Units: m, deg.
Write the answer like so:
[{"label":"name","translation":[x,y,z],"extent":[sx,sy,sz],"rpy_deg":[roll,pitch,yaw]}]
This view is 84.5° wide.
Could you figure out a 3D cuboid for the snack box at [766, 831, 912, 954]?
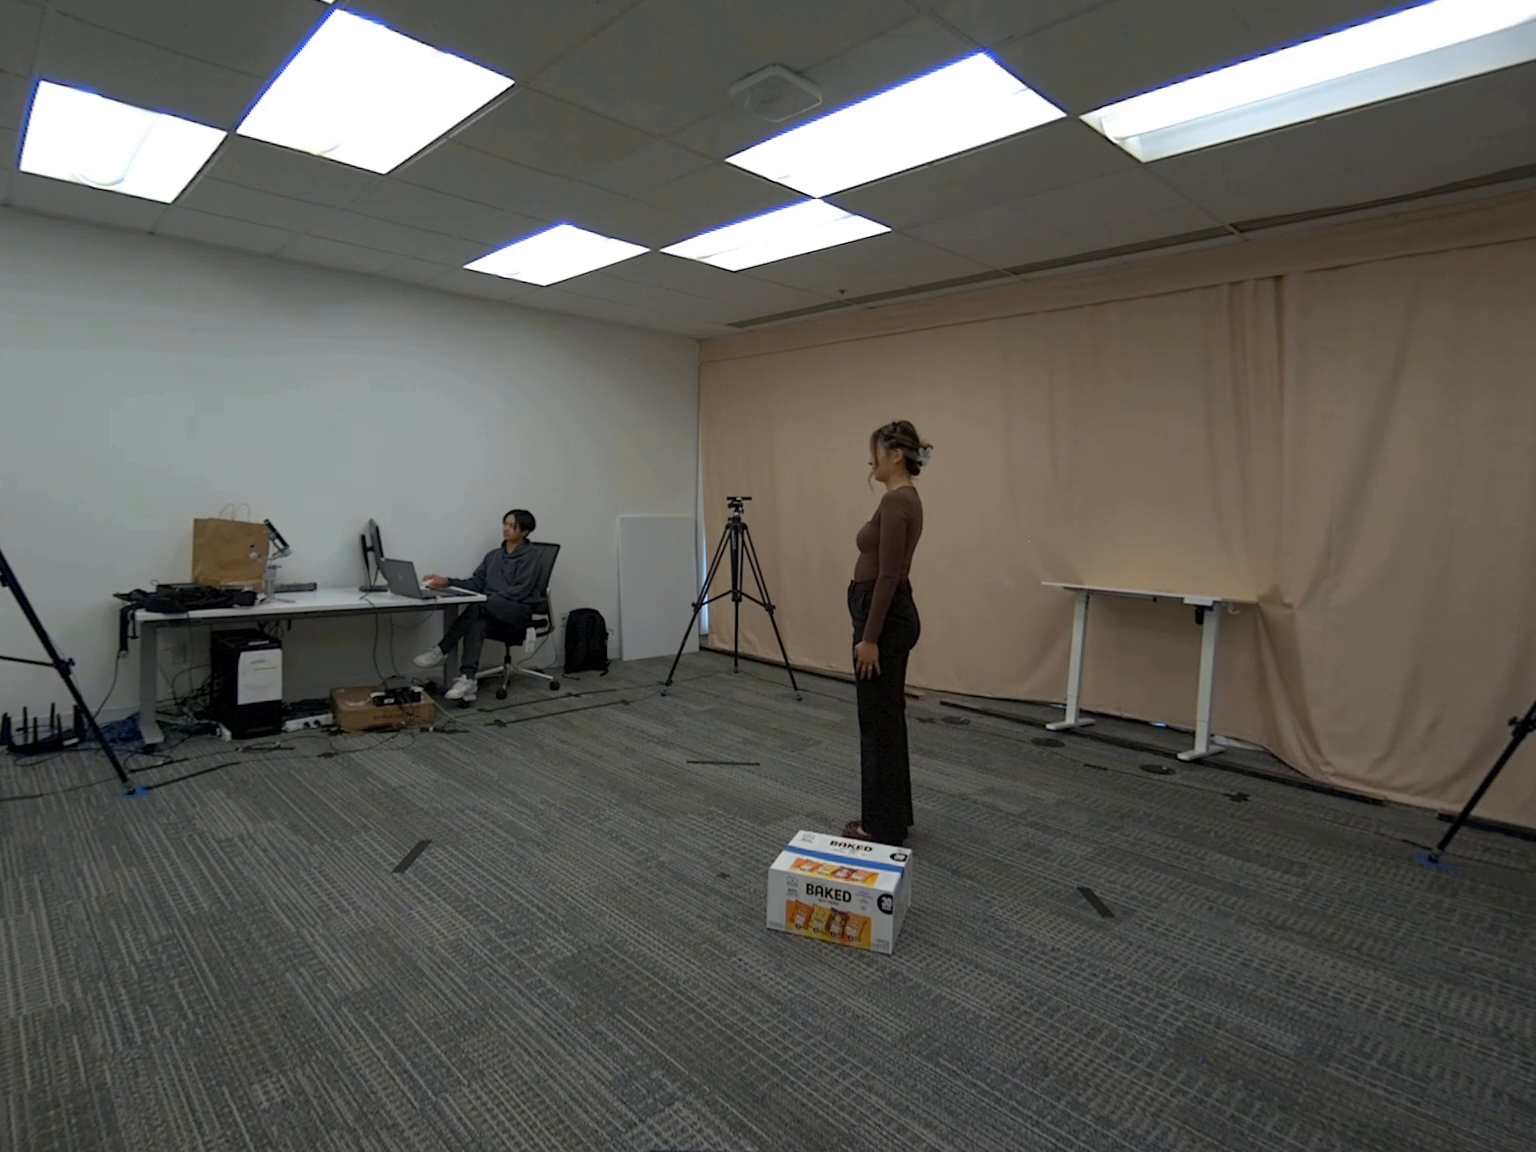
[{"label":"snack box","translation":[0.240,1.040,2.800],"extent":[0.412,0.205,0.336],"rpy_deg":[3,5,20]}]
